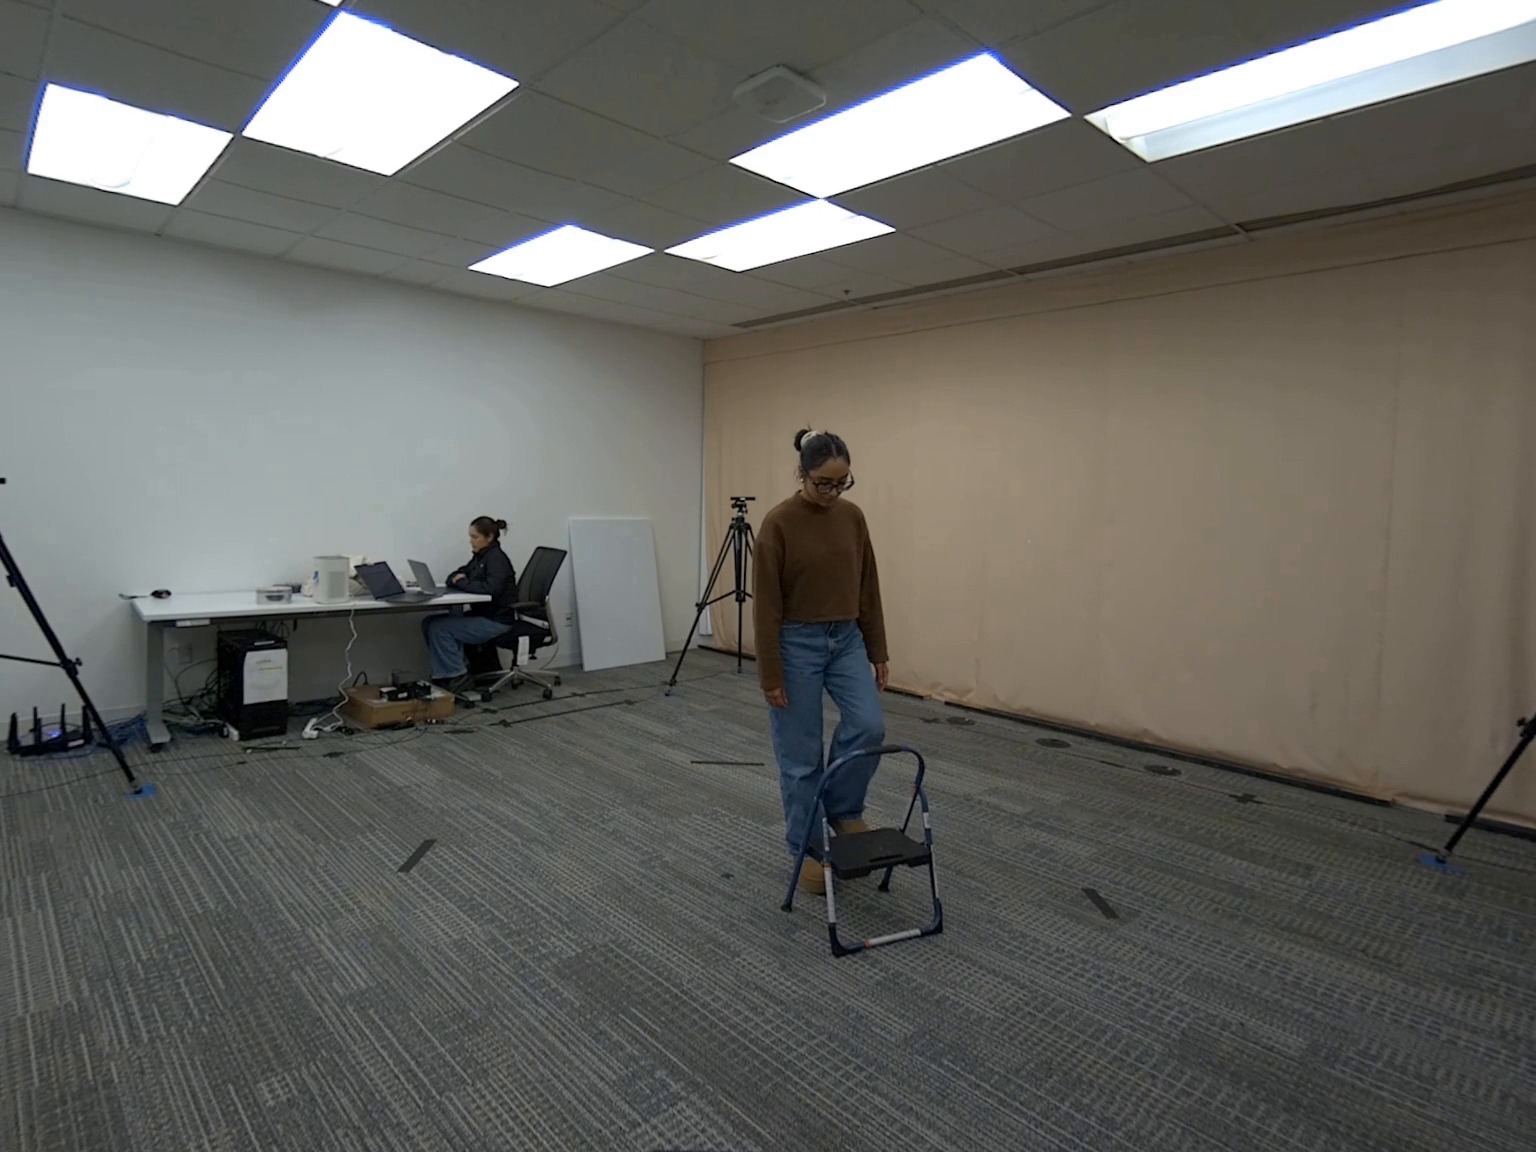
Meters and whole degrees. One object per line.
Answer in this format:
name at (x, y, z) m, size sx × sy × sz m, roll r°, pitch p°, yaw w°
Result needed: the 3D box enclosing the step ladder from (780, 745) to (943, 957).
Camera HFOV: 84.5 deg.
step ladder at (0.314, 0.845, 2.782) m, size 0.422 × 0.605 × 0.356 m, roll 0°, pitch 4°, yaw -26°
